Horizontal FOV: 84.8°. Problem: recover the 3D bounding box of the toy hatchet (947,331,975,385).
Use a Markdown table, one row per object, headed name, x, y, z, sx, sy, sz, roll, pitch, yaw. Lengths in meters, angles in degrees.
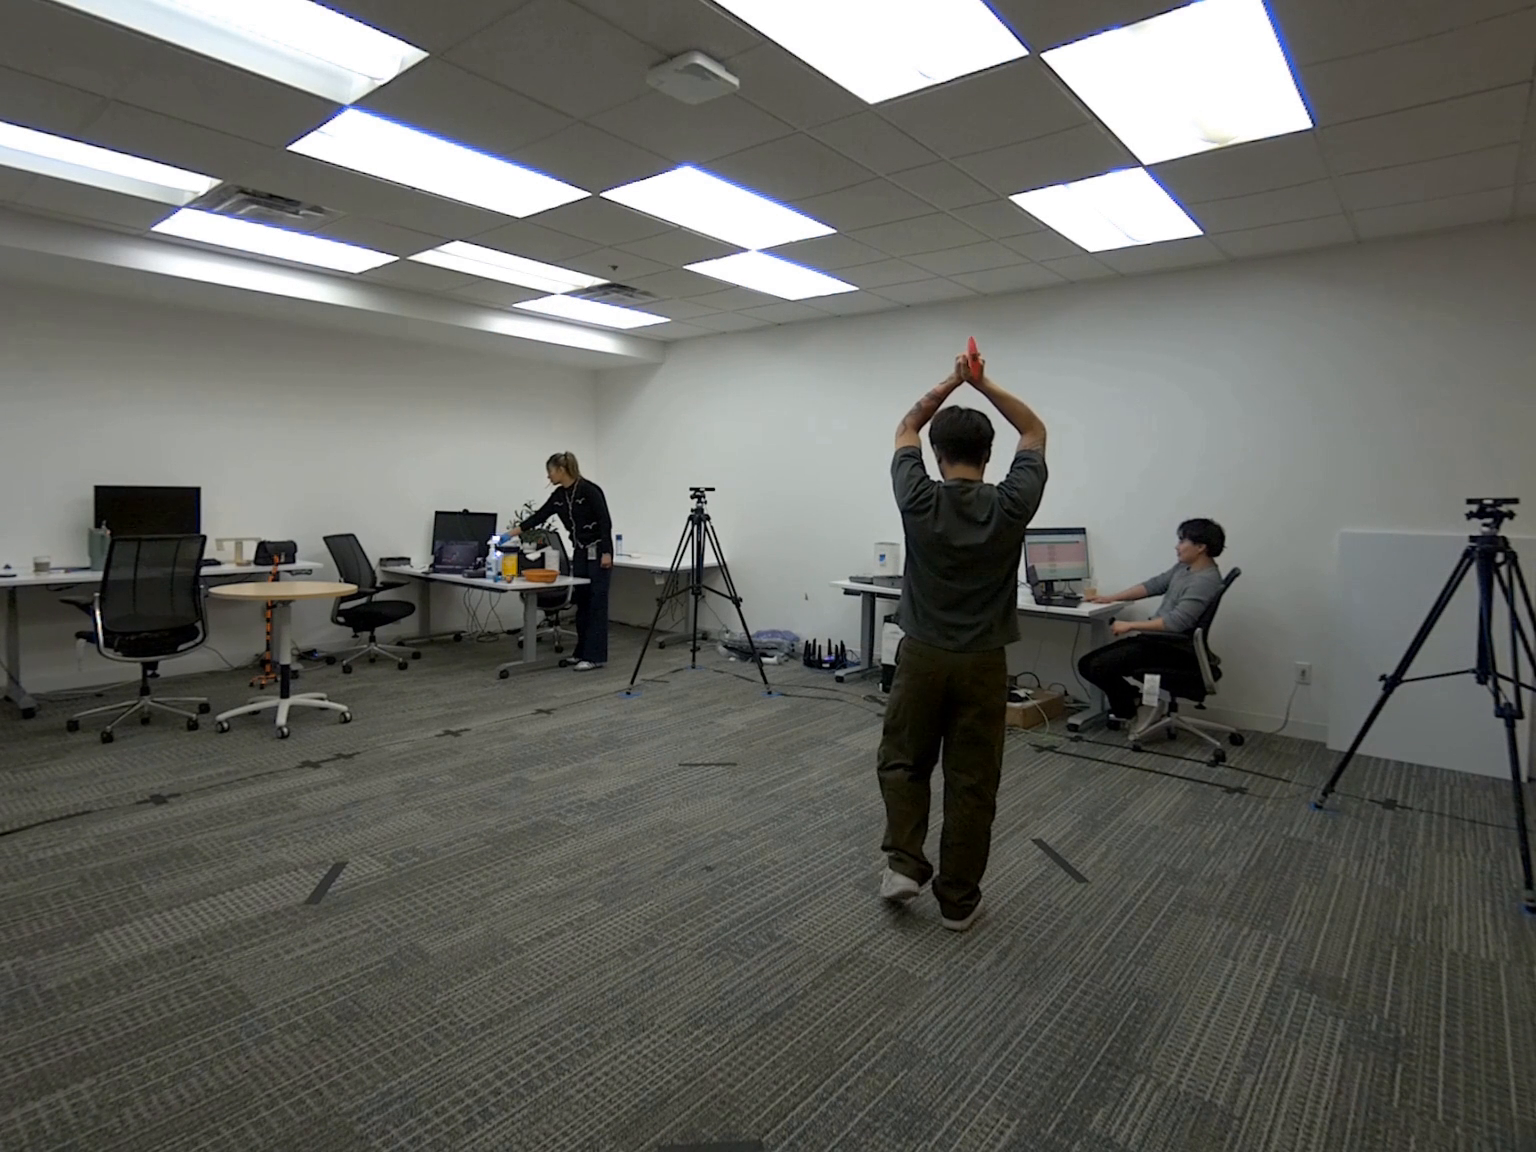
| name | x | y | z | sx | sy | sz | roll | pitch | yaw |
| --- | --- | --- | --- | --- | --- | --- | --- | --- | --- |
| toy hatchet | 0.620 | -0.708 | 2.710 | 0.030 | 0.128 | 0.274 | -9 | 21 | 7 |
